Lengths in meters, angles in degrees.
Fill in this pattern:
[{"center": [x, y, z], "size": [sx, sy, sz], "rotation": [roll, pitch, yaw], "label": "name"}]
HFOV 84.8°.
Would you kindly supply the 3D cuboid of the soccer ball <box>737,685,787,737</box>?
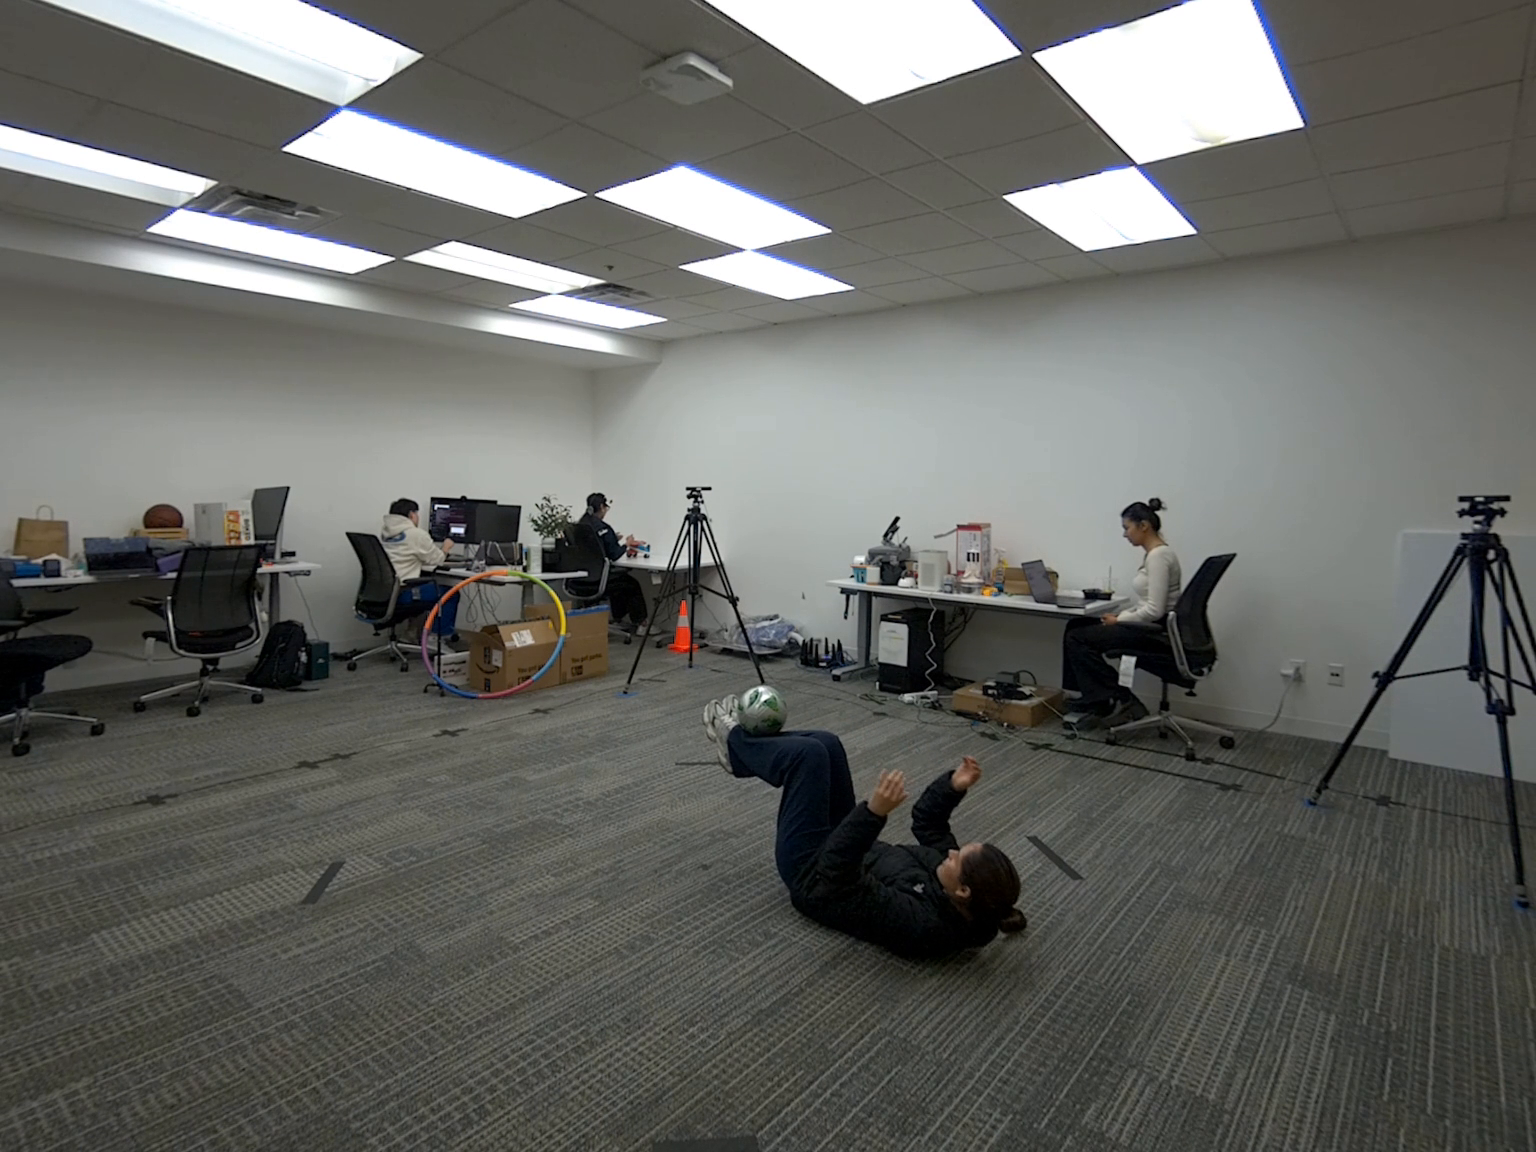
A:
[{"center": [-0.032, 0.495, 3.128], "size": [0.187, 0.187, 0.188], "rotation": [-3, 3, -2], "label": "soccer ball"}]
